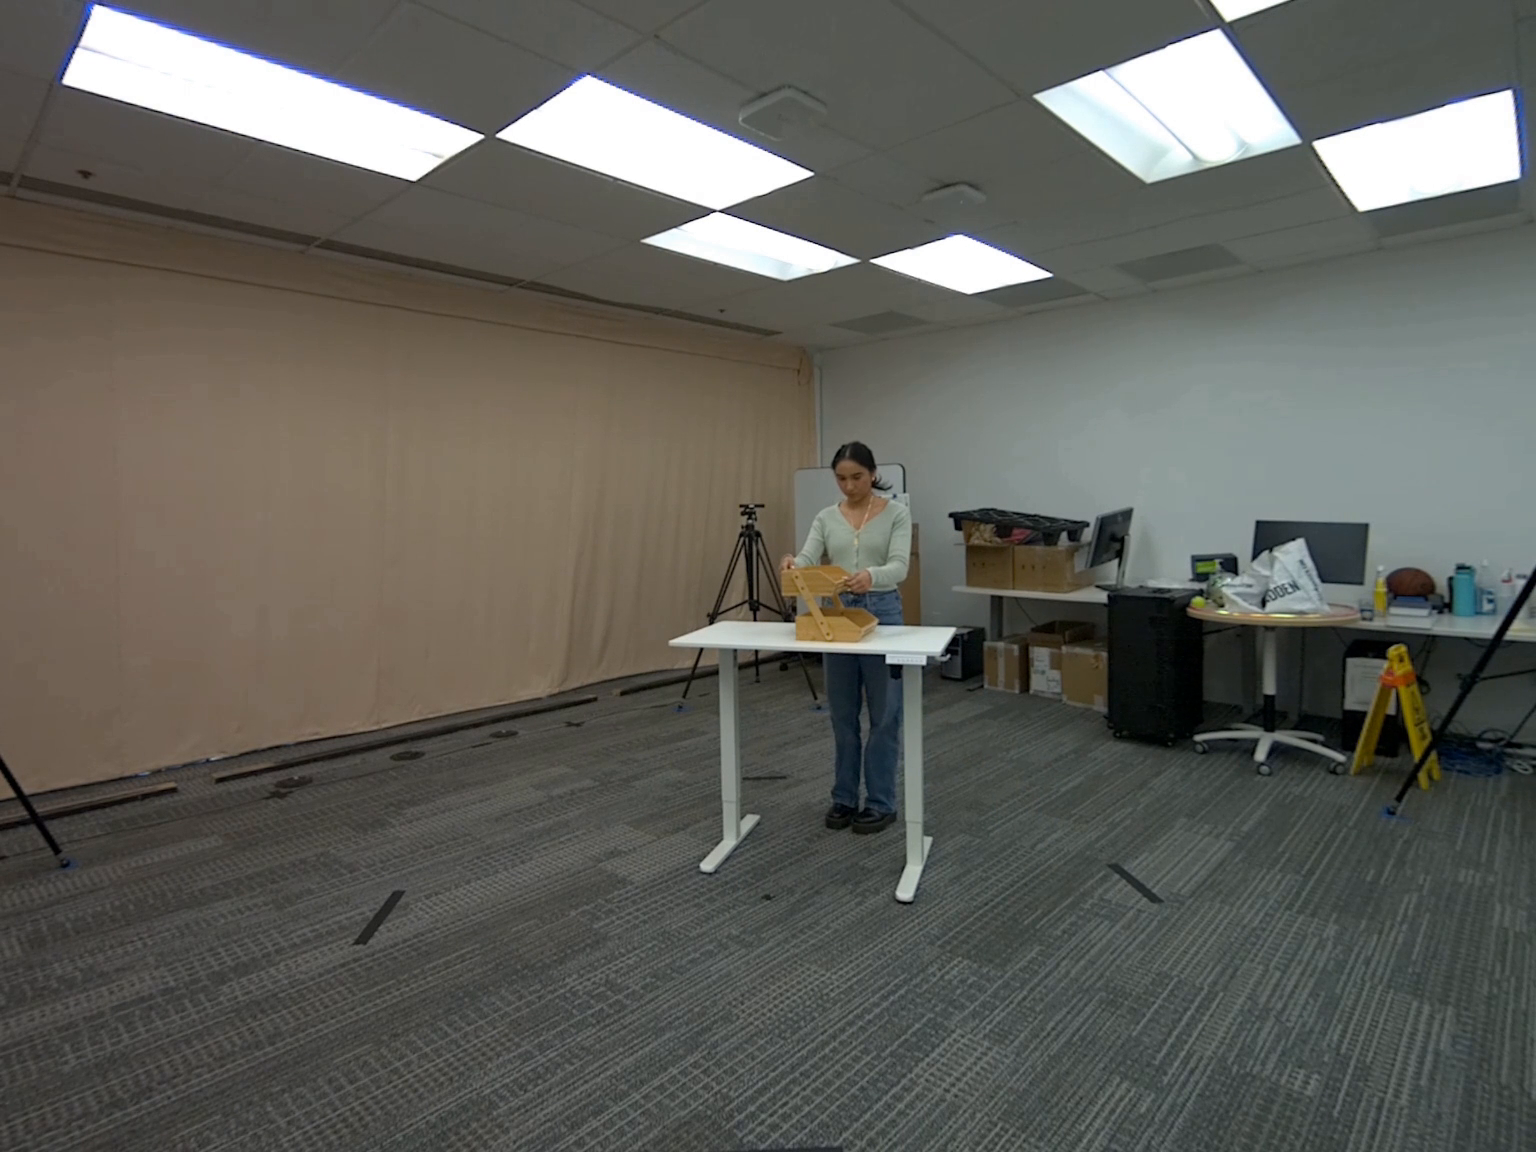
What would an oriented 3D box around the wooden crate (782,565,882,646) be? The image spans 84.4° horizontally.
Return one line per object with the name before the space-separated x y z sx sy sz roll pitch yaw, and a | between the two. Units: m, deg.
wooden crate | 0.248 0.098 3.223 0.308 0.273 0.318 0 4 19
